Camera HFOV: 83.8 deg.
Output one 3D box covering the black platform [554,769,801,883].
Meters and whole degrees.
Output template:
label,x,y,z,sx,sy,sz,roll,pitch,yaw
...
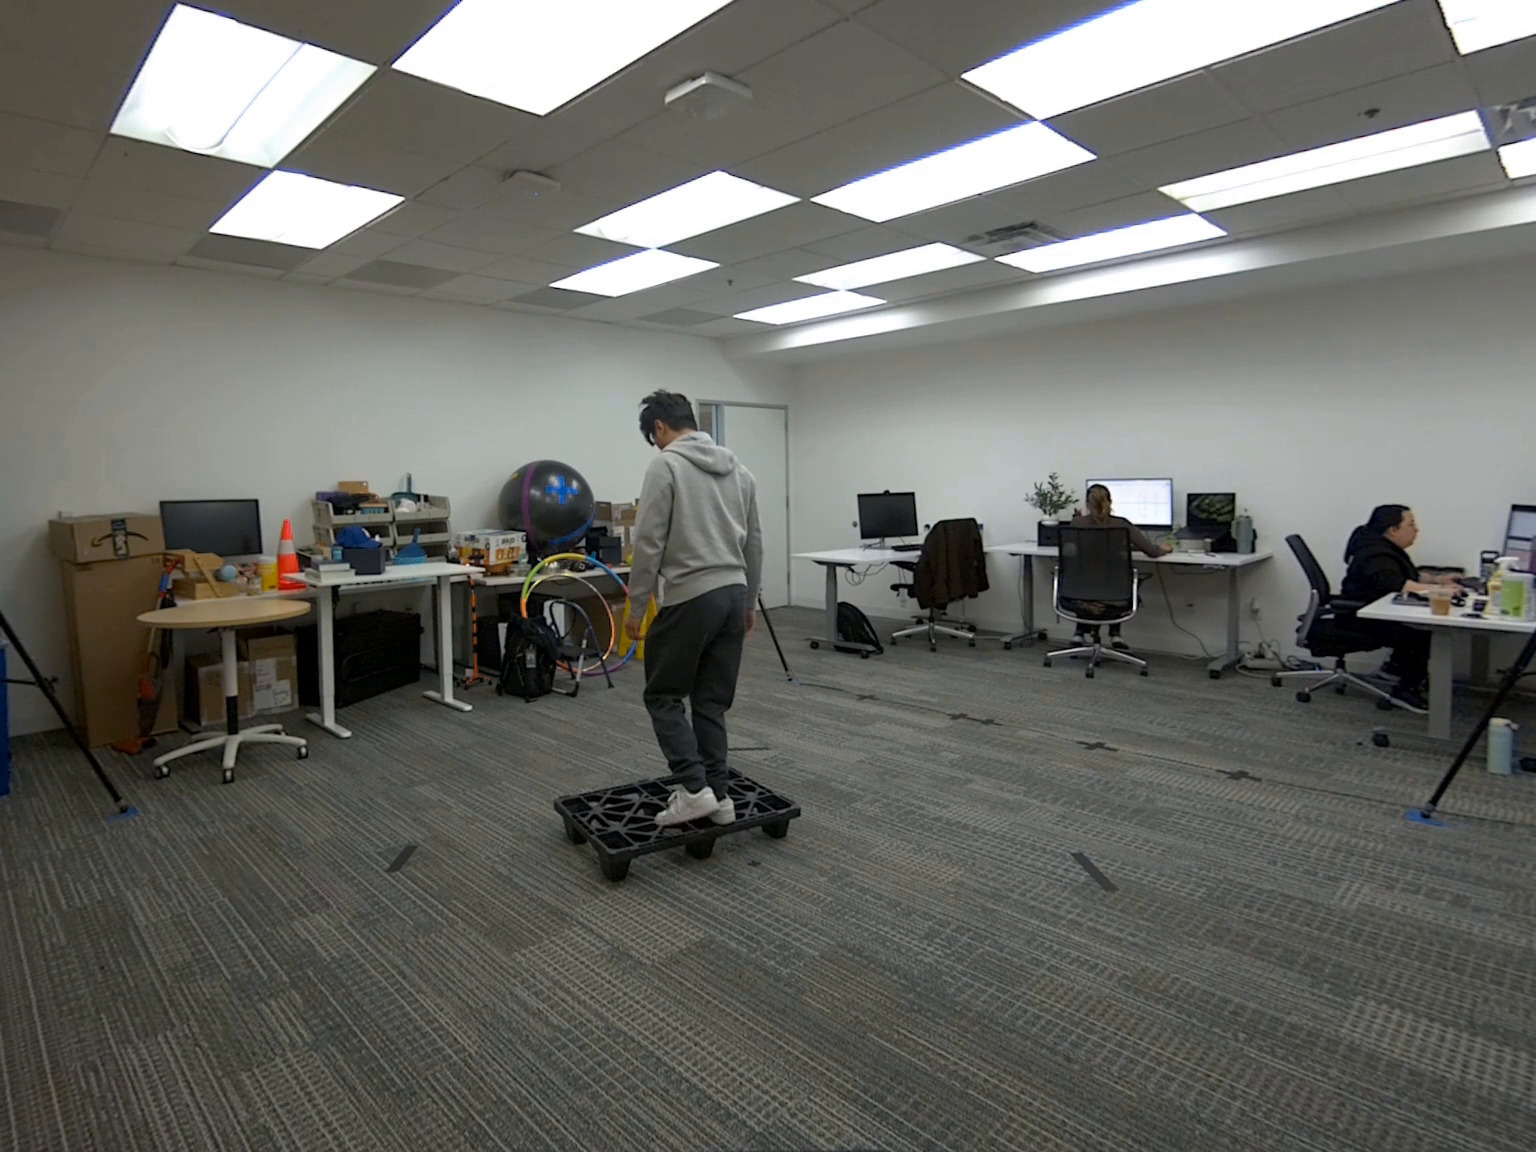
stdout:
label,x,y,z,sx,sy,sz,roll,pitch,yaw
black platform,-0.352,0.957,3.349,0.787,0.142,0.623,-5,8,-31
